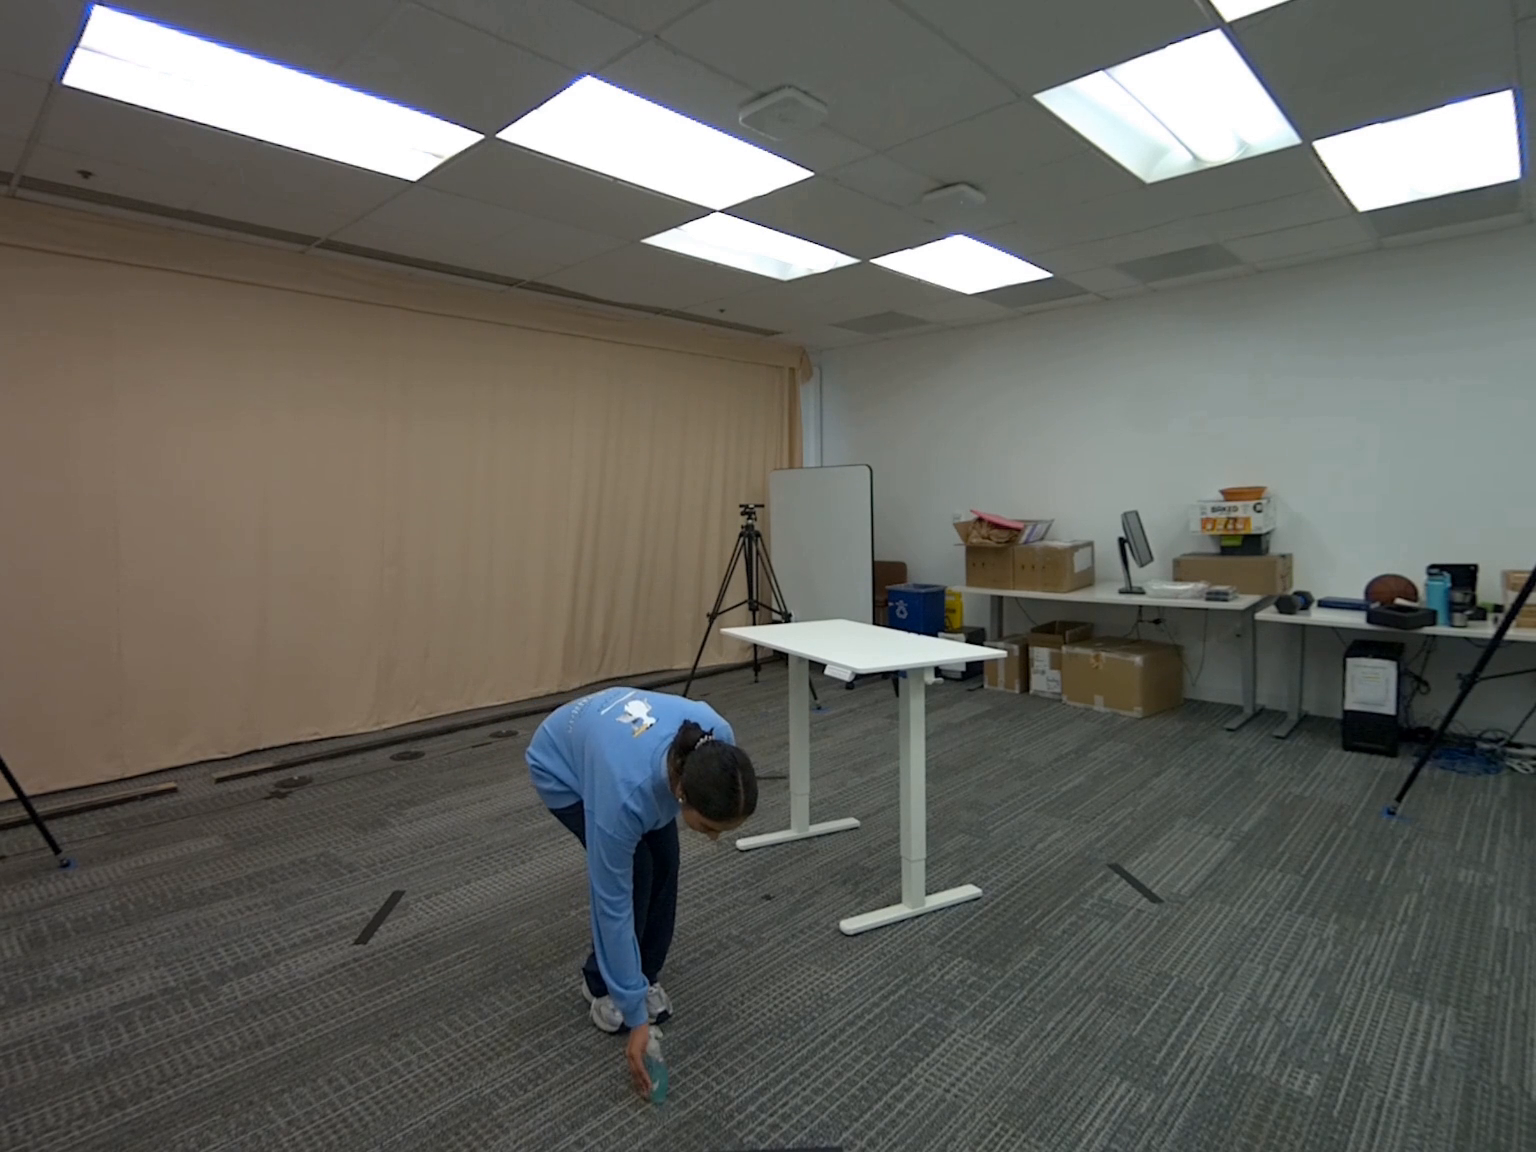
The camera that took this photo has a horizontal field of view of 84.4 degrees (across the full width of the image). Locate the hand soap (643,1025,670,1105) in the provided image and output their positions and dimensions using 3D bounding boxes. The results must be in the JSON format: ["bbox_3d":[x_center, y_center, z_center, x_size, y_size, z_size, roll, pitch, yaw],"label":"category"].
[{"bbox_3d":[-0.268,1.144,1.987,0.042,0.168,0.087,-5,2,-41],"label":"hand soap"}]
